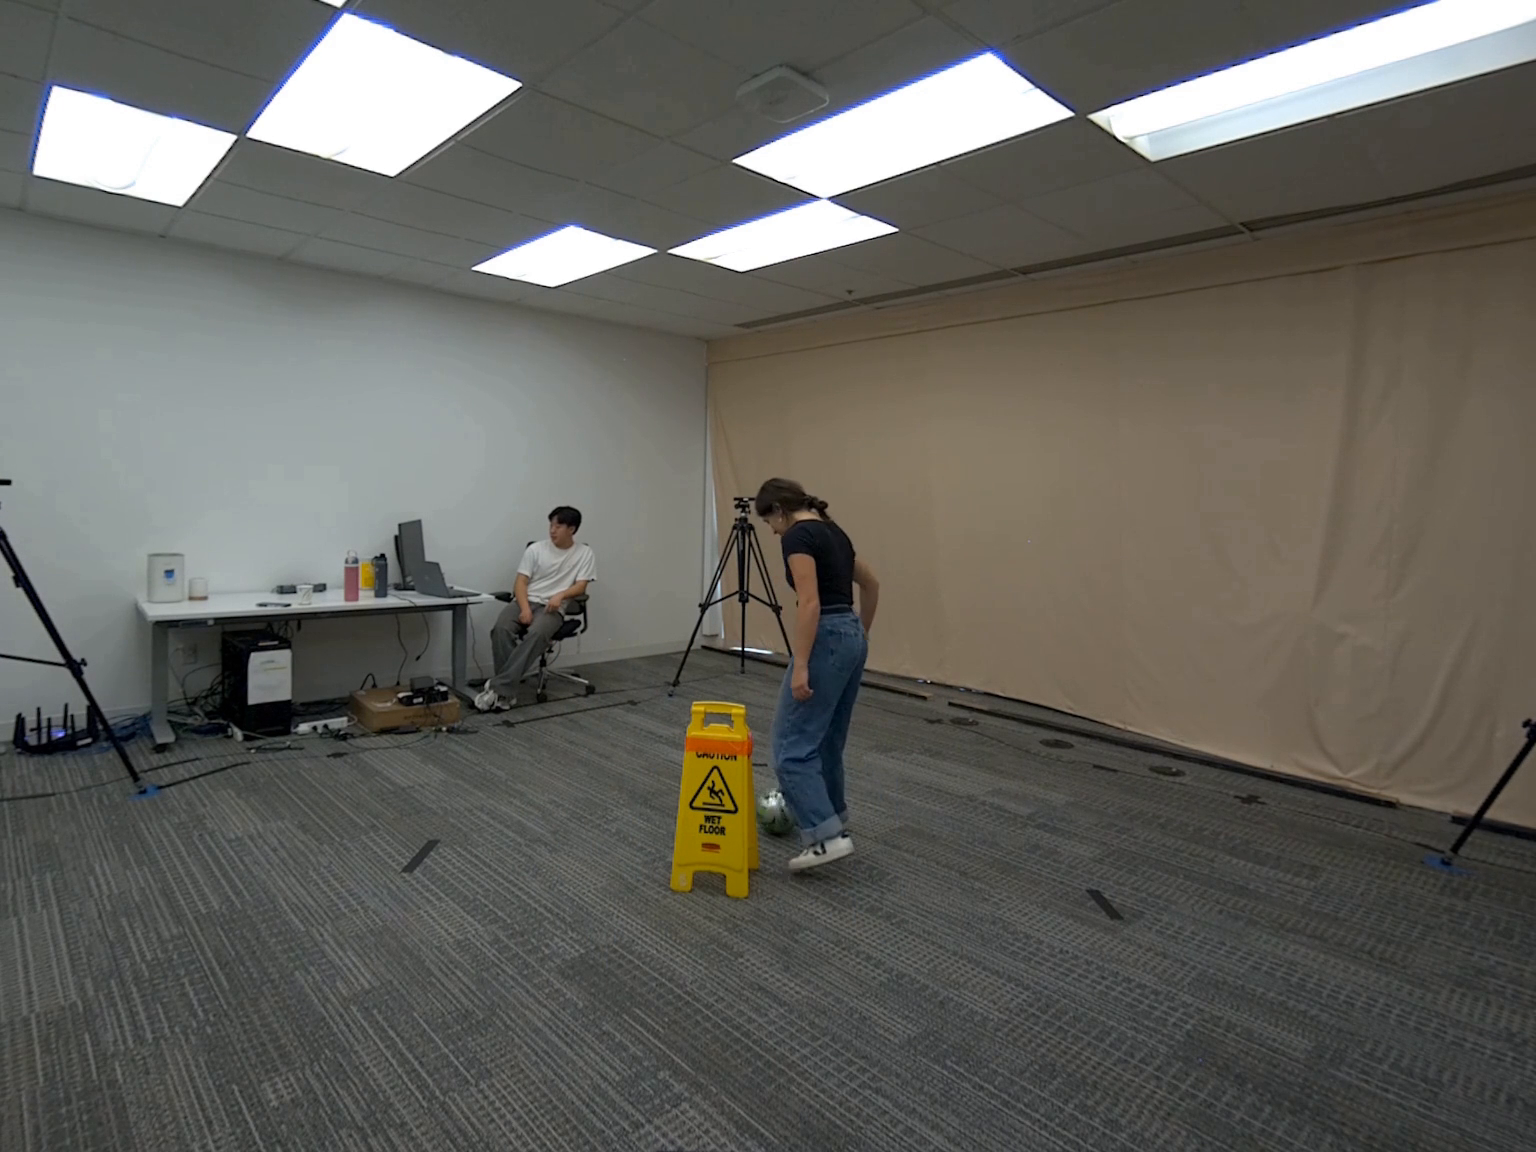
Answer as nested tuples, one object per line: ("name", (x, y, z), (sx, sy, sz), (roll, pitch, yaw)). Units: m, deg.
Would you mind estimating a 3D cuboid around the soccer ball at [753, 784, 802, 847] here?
("soccer ball", (0.037, 0.989, 3.512), (0.187, 0.187, 0.188), (1, 4, -1))
